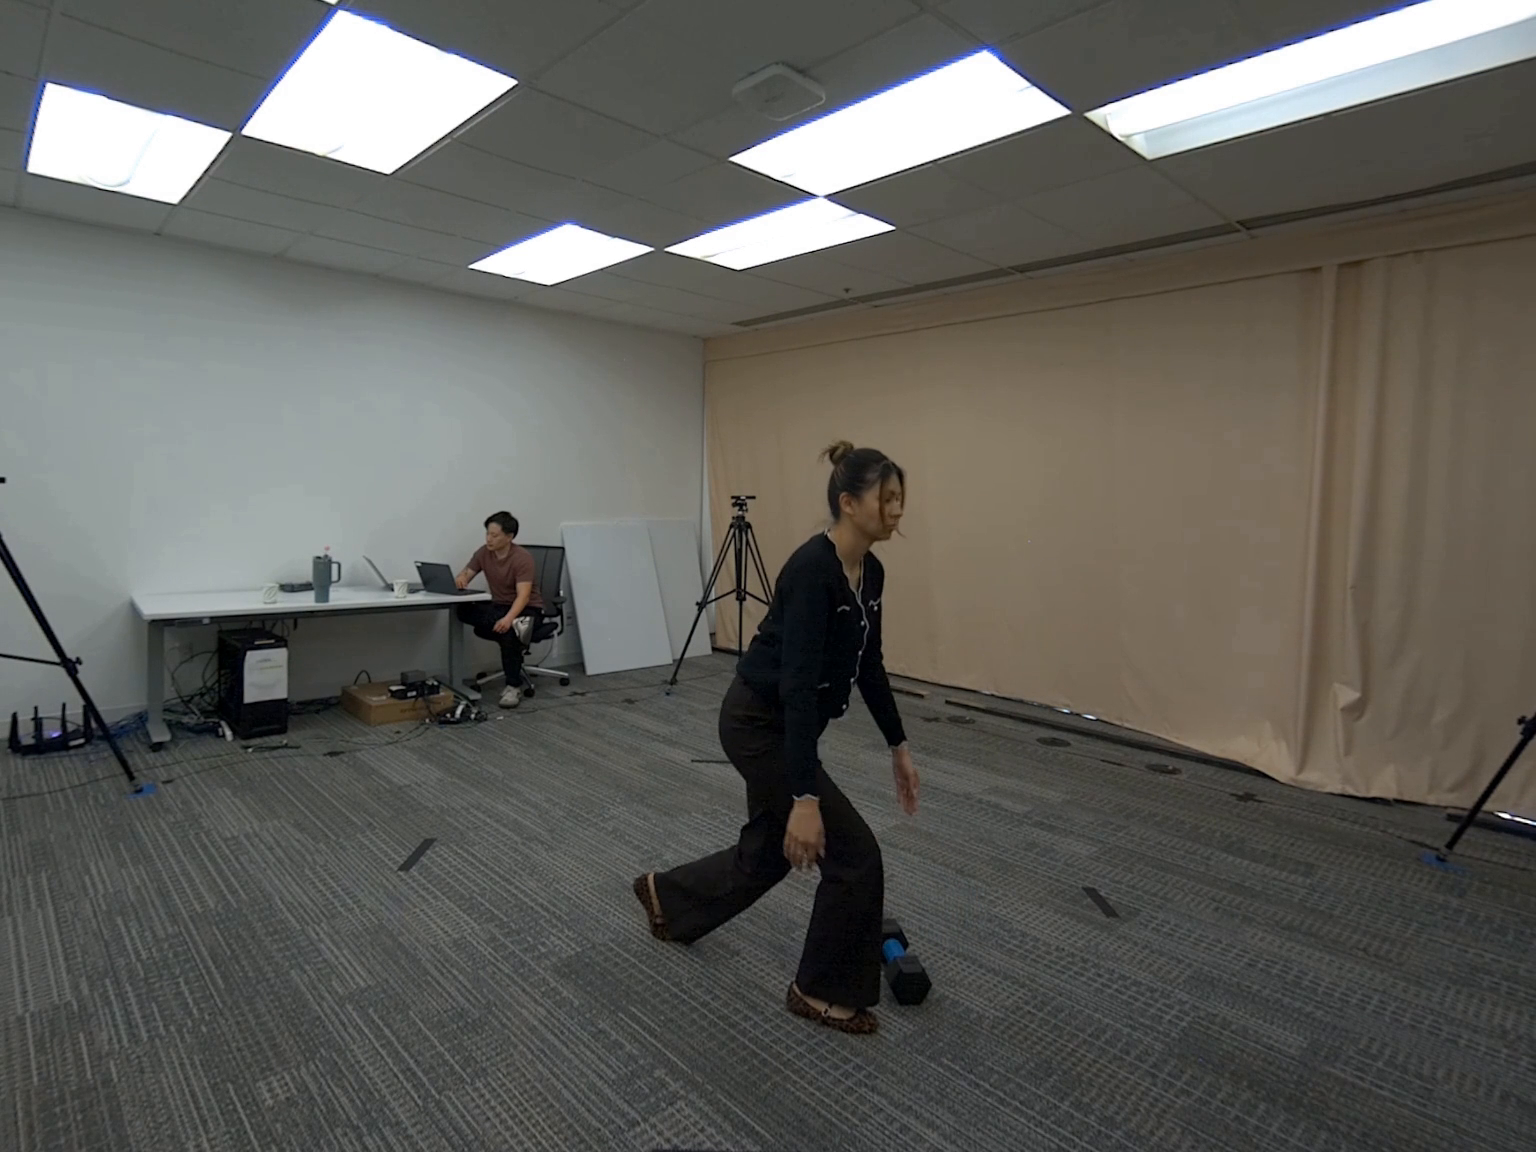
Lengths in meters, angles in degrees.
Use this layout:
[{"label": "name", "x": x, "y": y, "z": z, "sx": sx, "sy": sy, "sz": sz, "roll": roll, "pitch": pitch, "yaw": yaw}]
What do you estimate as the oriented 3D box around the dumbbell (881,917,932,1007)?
[{"label": "dumbbell", "x": 0.373, "y": 1.126, "z": 2.459, "sx": 0.108, "sy": 0.123, "sz": 0.296, "roll": 29, "pitch": 1, "yaw": -8}]
